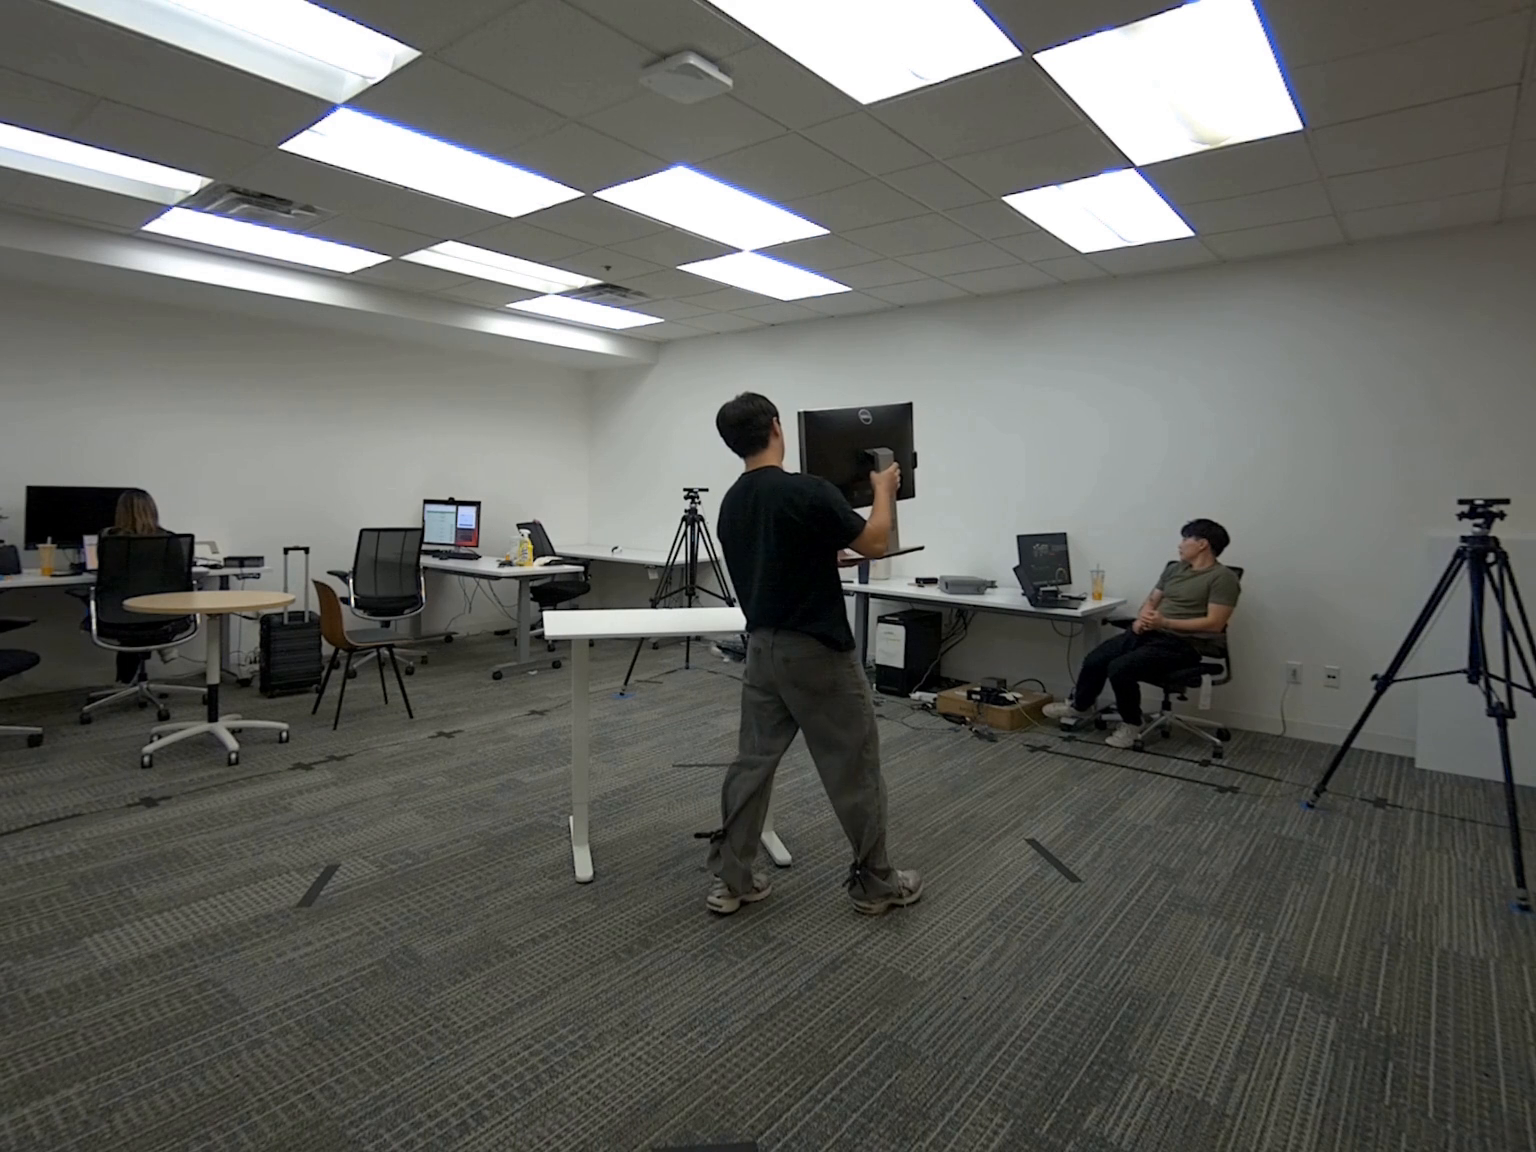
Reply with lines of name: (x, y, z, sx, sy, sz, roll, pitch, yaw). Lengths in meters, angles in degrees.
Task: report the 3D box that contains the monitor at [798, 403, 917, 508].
monitor: (0.358, -0.328, 3.002, 0.548, 0.568, 0.227, -11, -3, -34)
